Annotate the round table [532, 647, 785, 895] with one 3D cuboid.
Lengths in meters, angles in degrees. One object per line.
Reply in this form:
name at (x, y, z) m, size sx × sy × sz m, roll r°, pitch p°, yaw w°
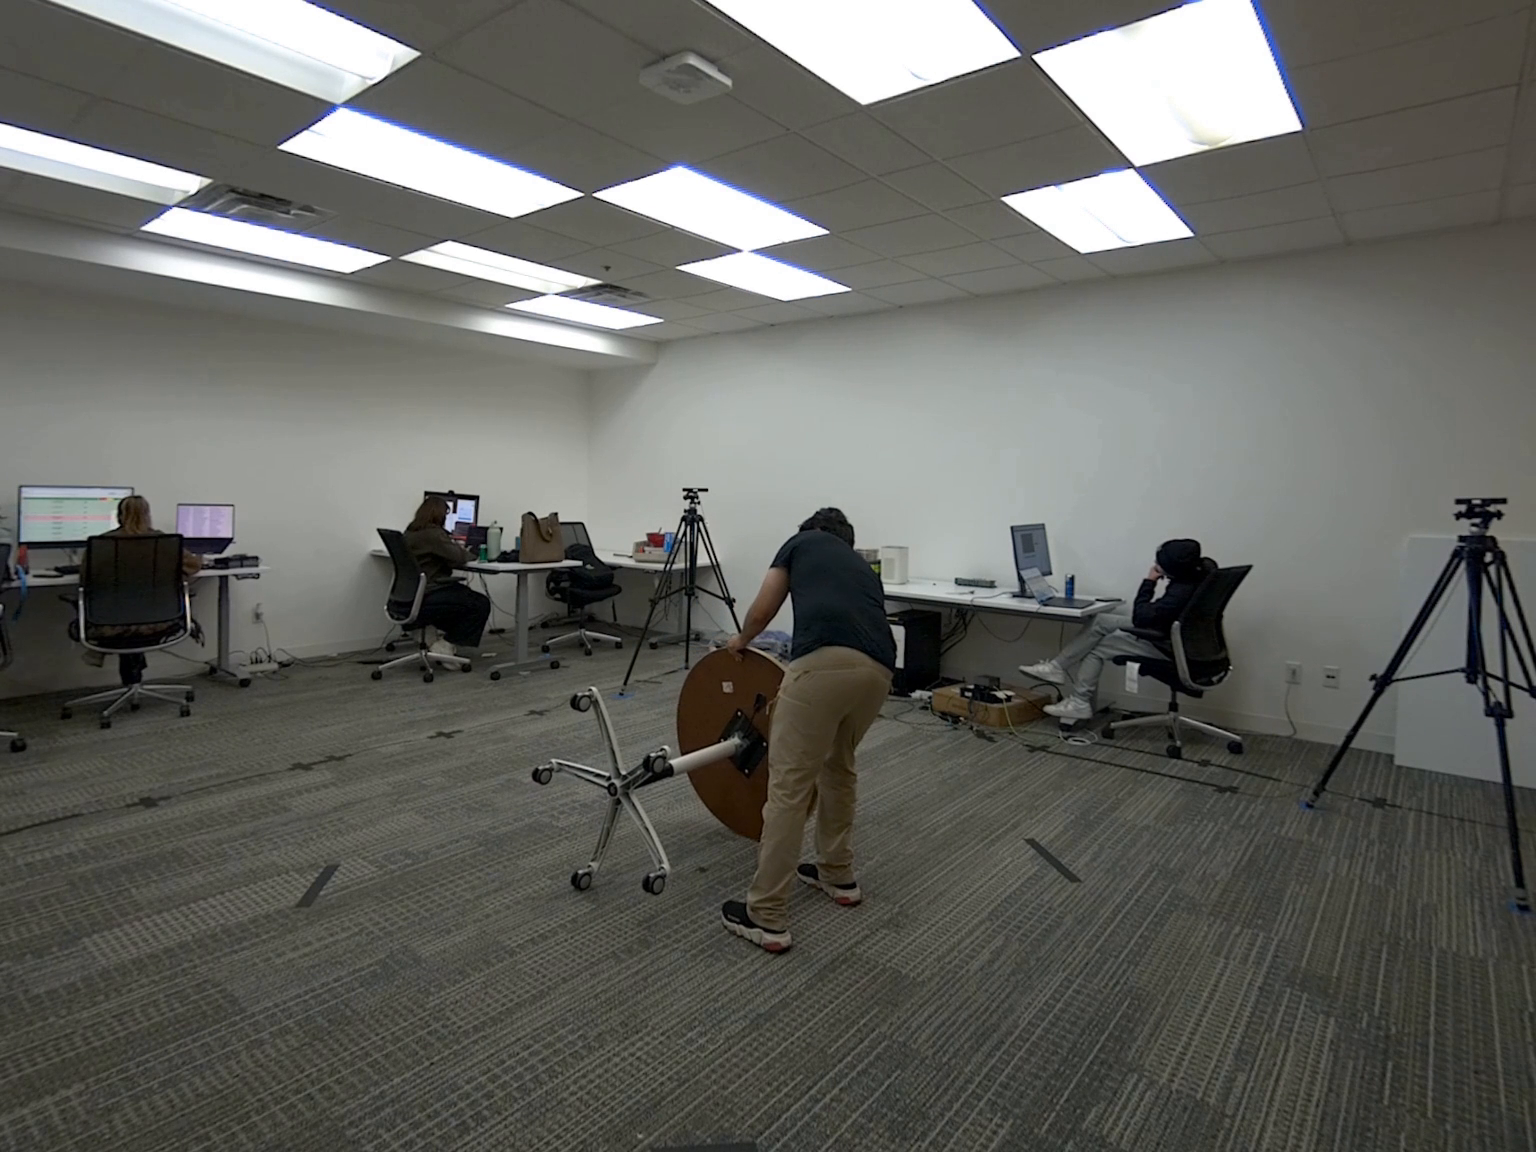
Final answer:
round table at (-0.346, 0.688, 3.112) m, size 0.812 × 0.782 × 0.764 m, roll 5°, pitch 7°, yaw 41°
